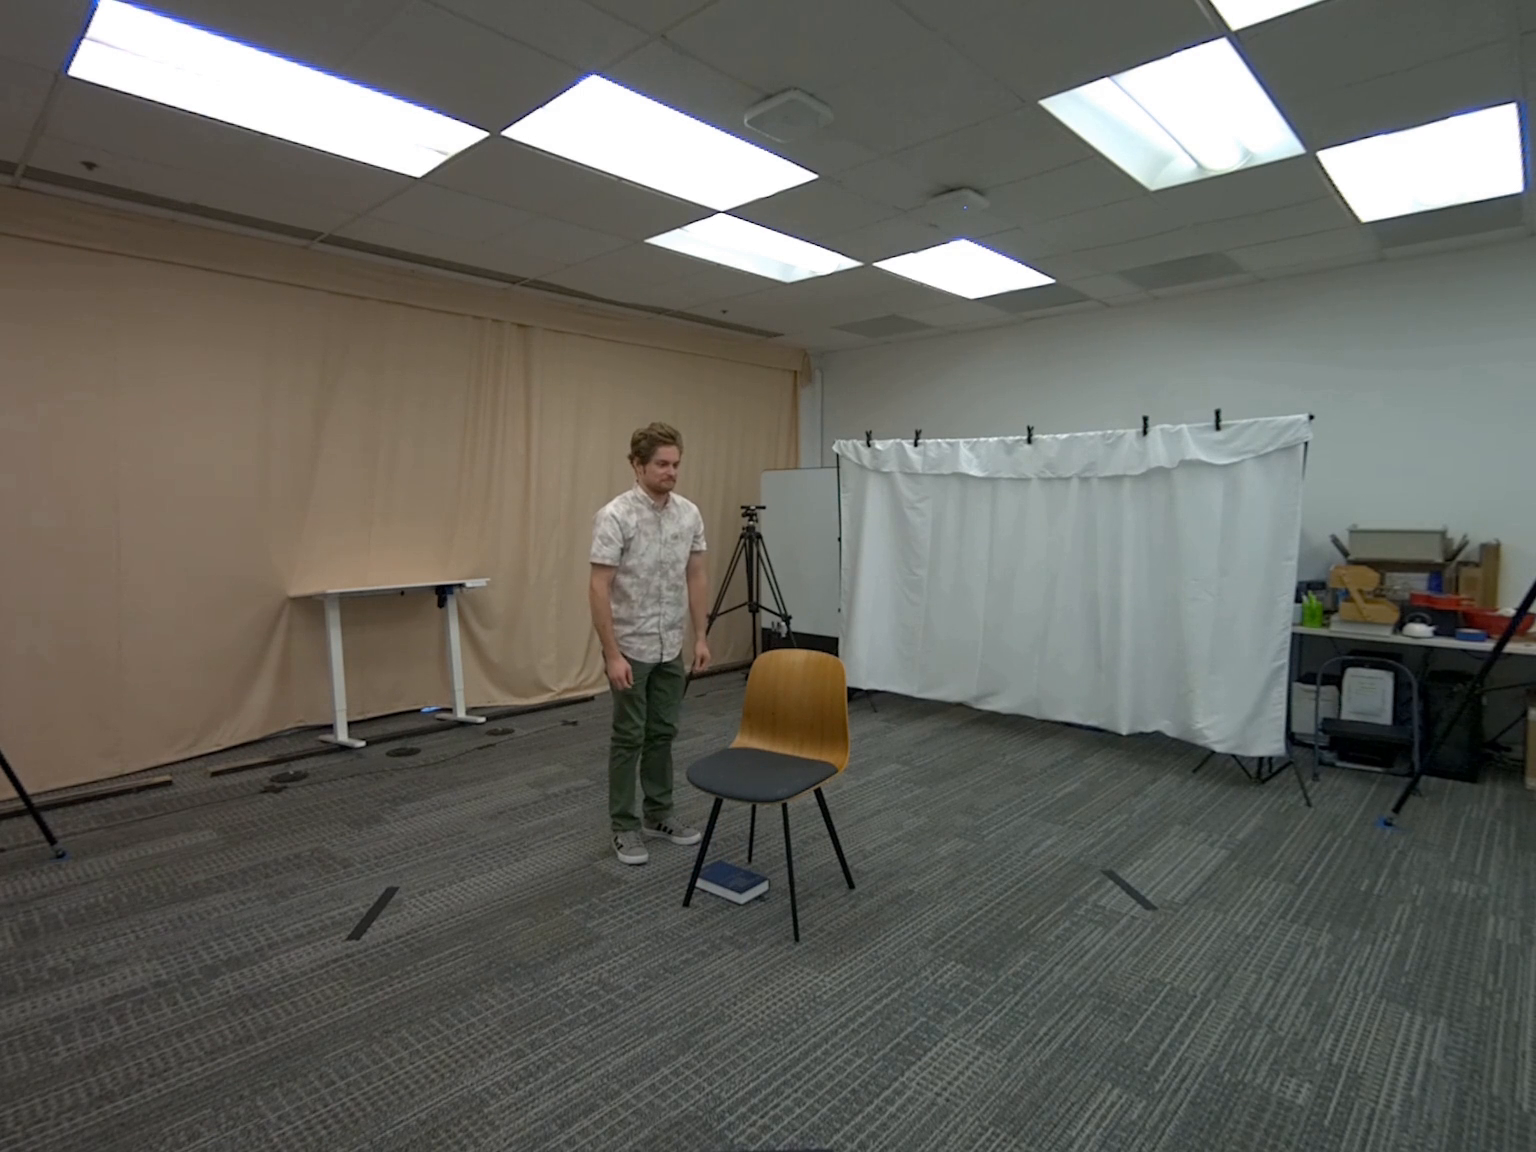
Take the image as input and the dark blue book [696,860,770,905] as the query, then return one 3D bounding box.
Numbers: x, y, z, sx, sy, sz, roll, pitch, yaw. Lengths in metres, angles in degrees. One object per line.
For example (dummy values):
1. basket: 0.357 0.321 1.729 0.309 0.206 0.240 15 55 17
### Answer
1. dark blue book: -0.135 1.112 3.068 0.253 0.045 0.158 3 7 40
